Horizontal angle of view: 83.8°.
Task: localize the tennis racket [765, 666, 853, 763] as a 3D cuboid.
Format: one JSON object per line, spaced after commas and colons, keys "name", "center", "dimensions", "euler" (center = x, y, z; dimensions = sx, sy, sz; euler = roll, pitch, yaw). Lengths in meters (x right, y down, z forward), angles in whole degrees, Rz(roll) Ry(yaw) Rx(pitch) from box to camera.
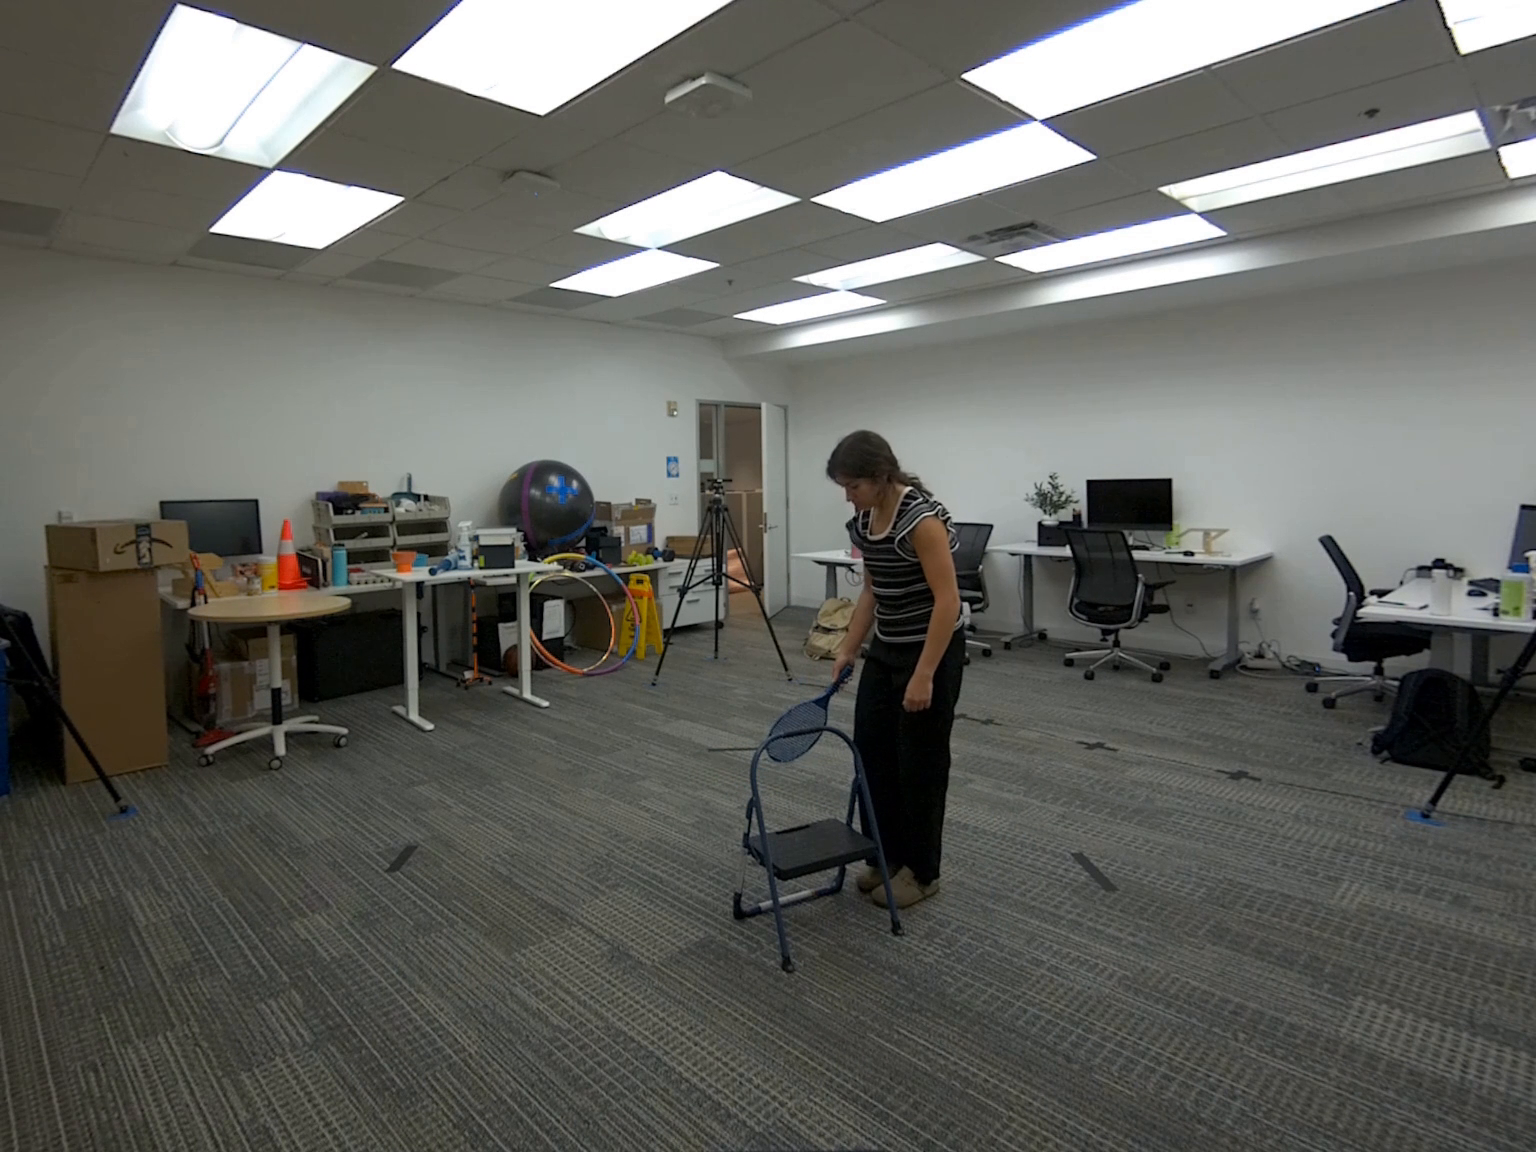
{"name": "tennis racket", "center": [0.159, 0.493, 3.008], "dimensions": [0.206, 0.432, 0.033], "euler": [34, 8, -32]}
